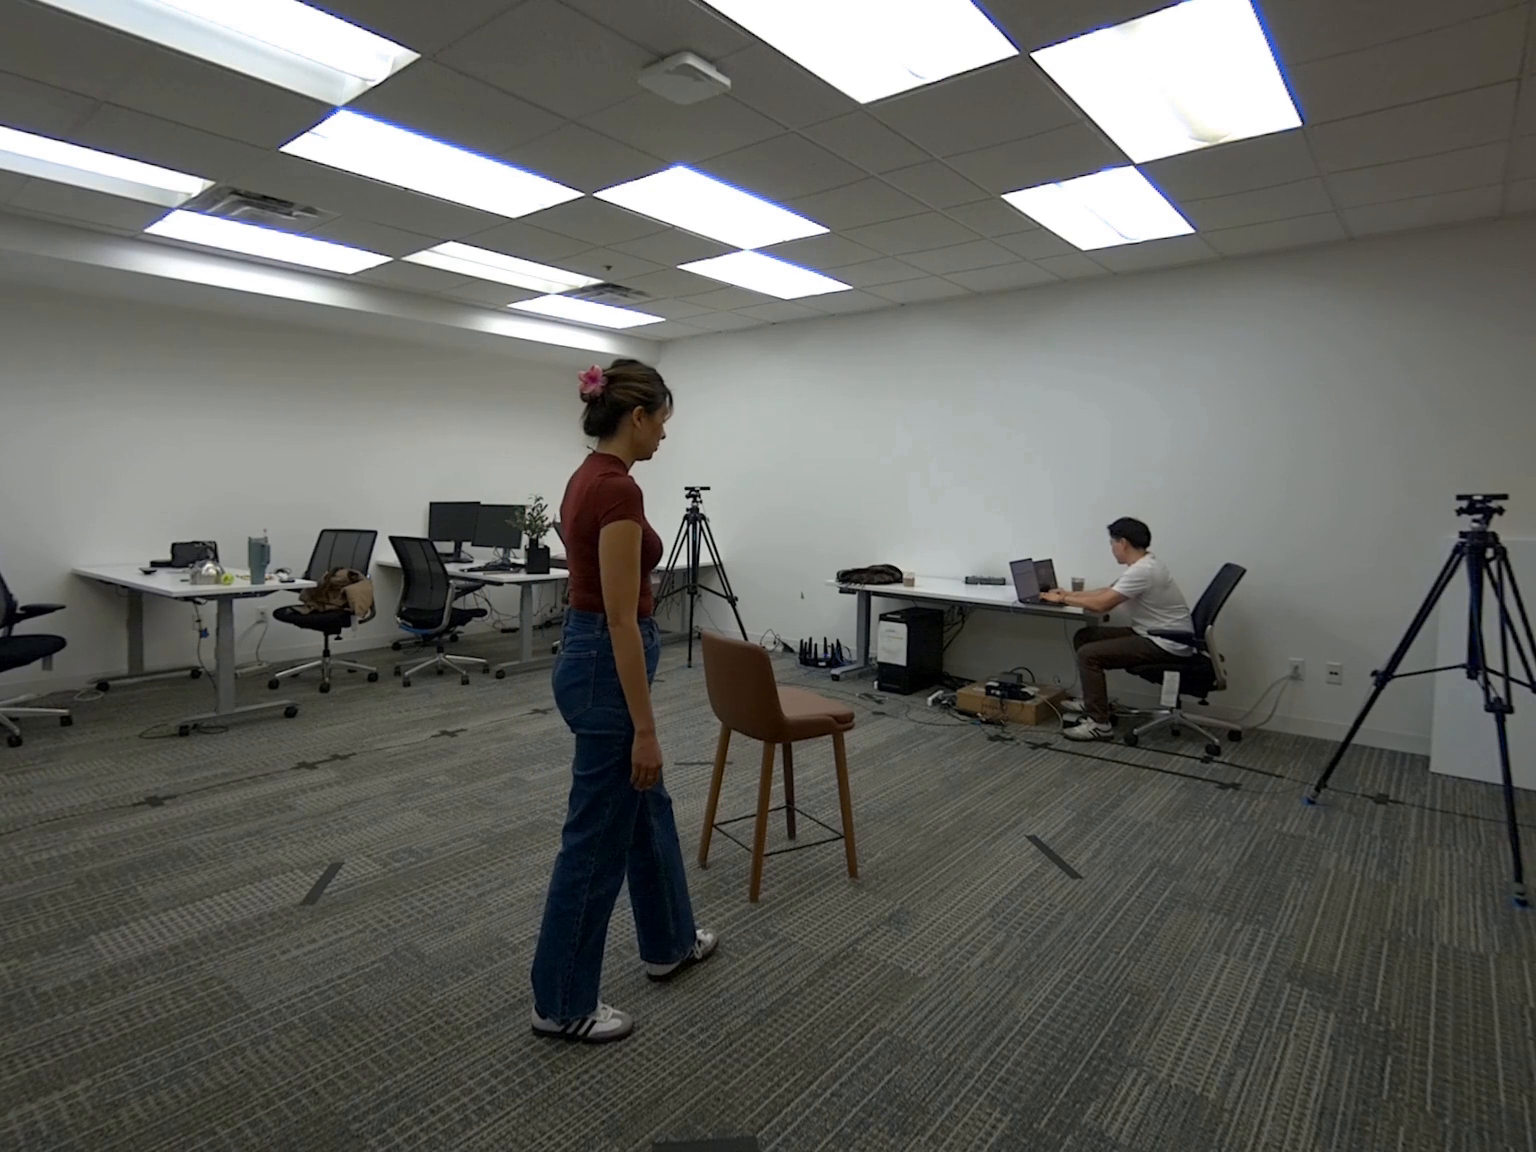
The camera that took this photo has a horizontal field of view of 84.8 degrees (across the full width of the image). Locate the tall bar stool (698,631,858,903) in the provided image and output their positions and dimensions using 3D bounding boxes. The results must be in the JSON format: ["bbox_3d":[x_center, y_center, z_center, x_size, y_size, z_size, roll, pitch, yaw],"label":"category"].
[{"bbox_3d":[0.023,0.633,3.095,0.455,0.887,0.471,-3,4,-33],"label":"tall bar stool"}]
